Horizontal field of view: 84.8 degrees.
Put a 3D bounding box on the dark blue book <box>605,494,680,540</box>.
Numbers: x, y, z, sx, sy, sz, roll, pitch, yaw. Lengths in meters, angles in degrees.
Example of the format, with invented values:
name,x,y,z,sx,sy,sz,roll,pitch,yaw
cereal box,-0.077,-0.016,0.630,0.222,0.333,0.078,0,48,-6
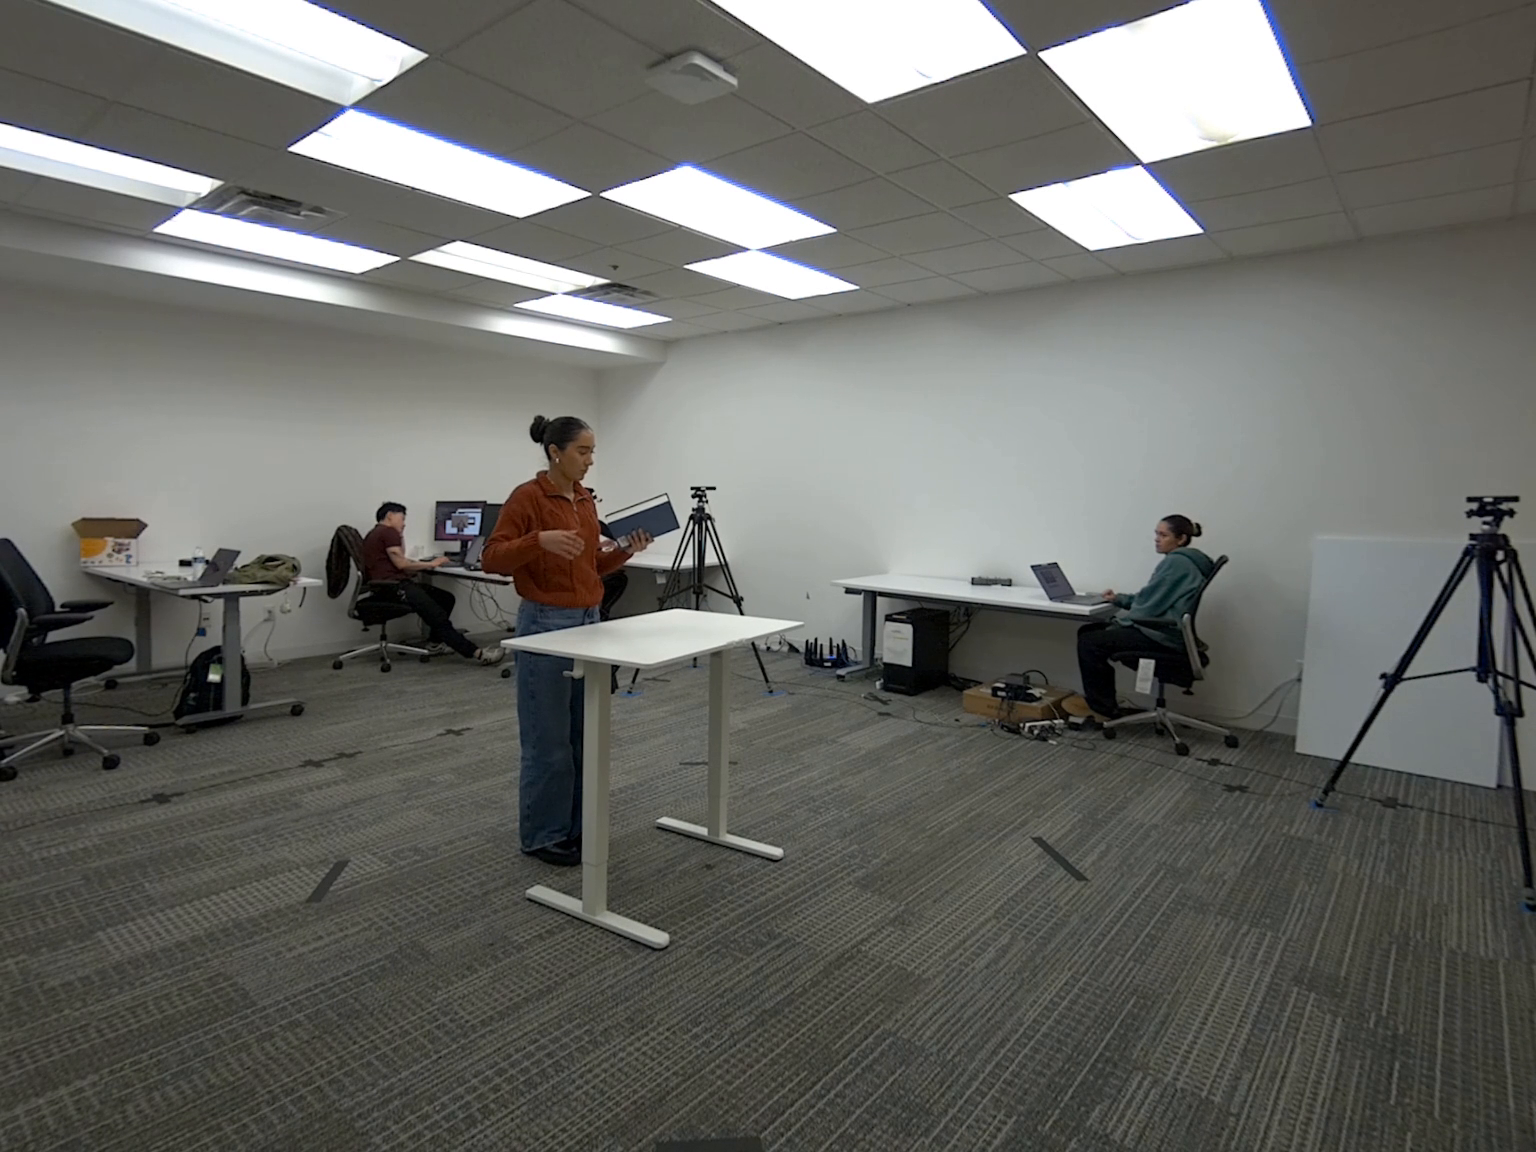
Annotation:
name,x,y,z,sx,sy,sz,roll,pitch,yaw
dark blue book,-0.483,-0.203,3.184,0.245,0.047,0.157,-19,-41,0
